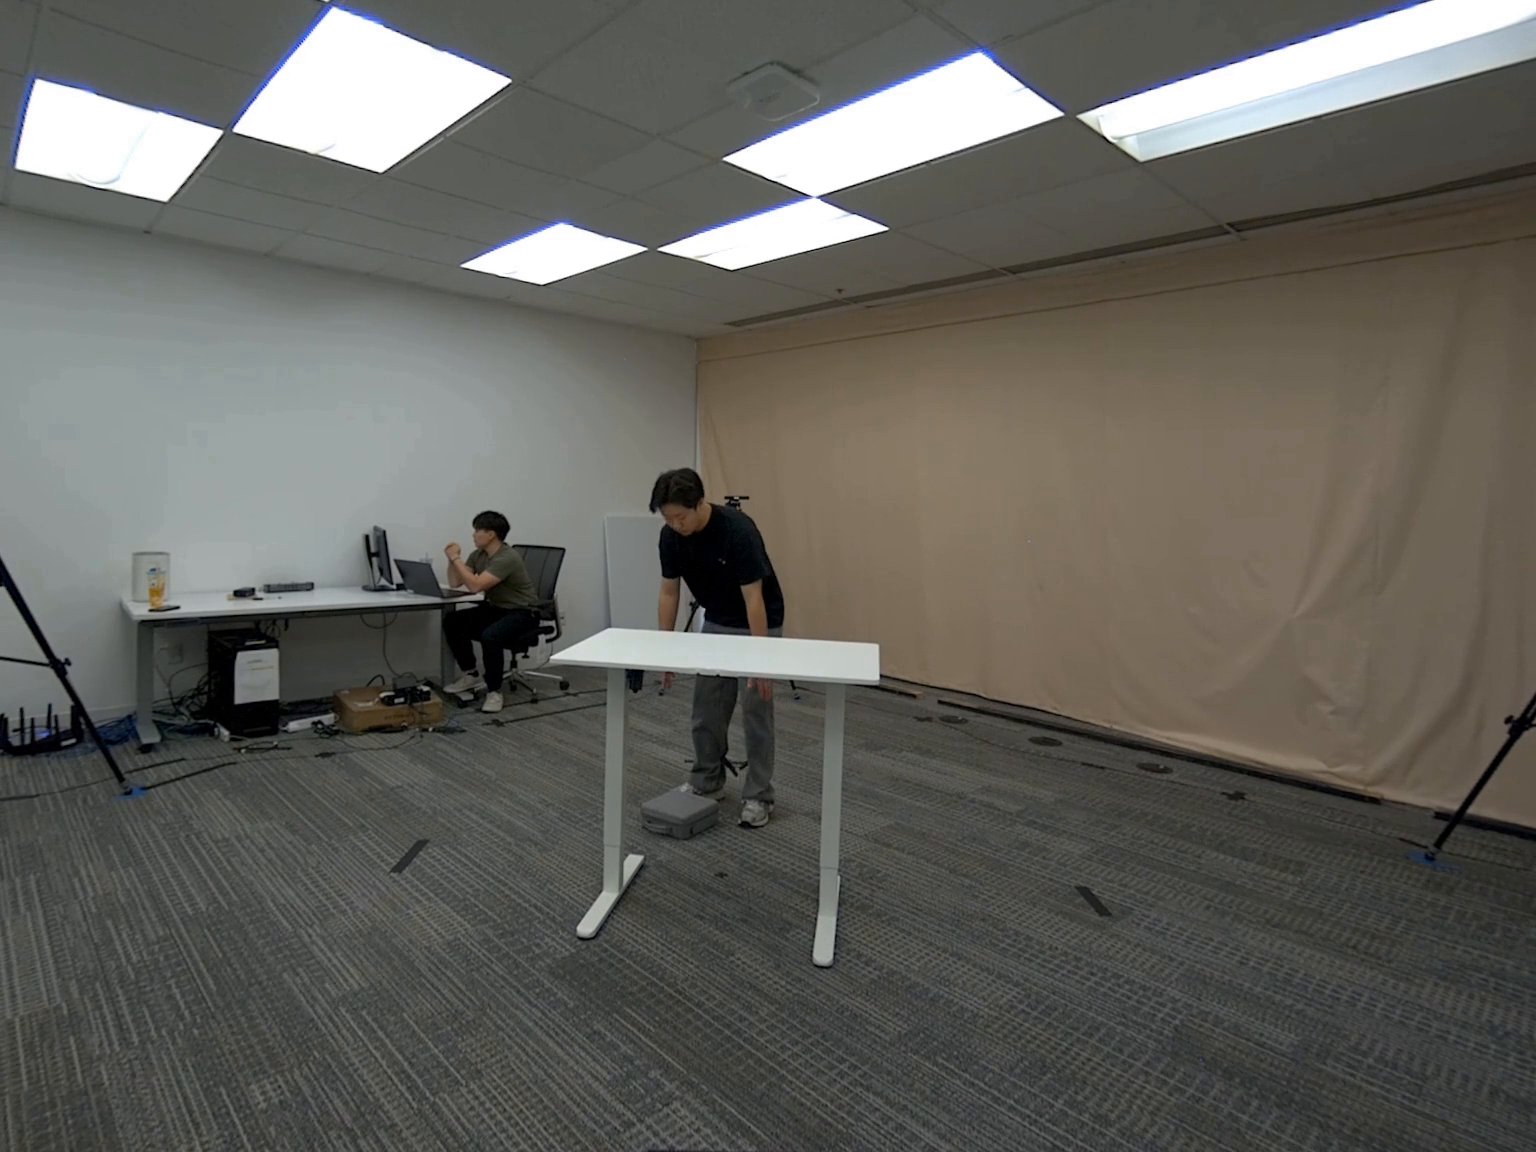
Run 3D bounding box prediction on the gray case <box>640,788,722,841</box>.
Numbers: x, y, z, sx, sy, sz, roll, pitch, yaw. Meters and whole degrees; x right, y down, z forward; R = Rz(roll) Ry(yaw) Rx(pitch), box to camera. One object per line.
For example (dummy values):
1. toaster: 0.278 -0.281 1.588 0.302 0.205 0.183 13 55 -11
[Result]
1. gray case: -0.387 1.006 3.553 0.269 0.103 0.281 3 6 34
